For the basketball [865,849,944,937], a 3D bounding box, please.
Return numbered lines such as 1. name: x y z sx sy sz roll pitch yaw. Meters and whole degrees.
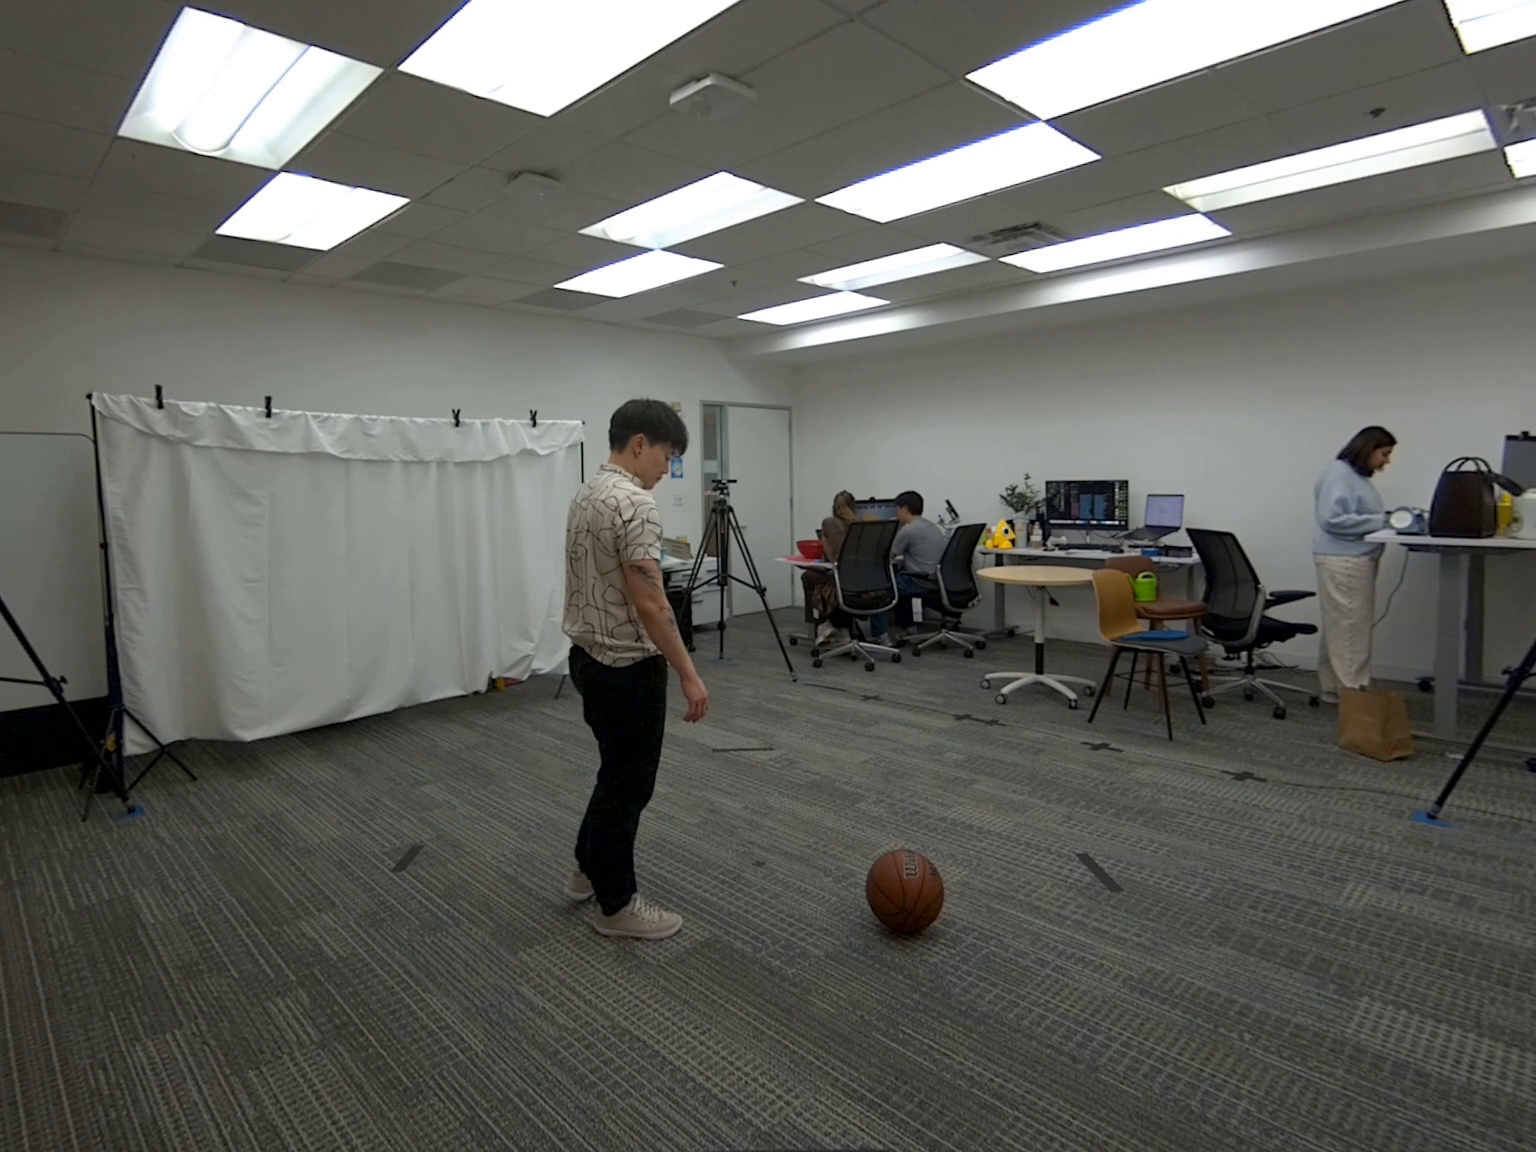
1. basketball: 0.426 0.964 2.641 0.236 0.235 0.237 -1 5 -2
